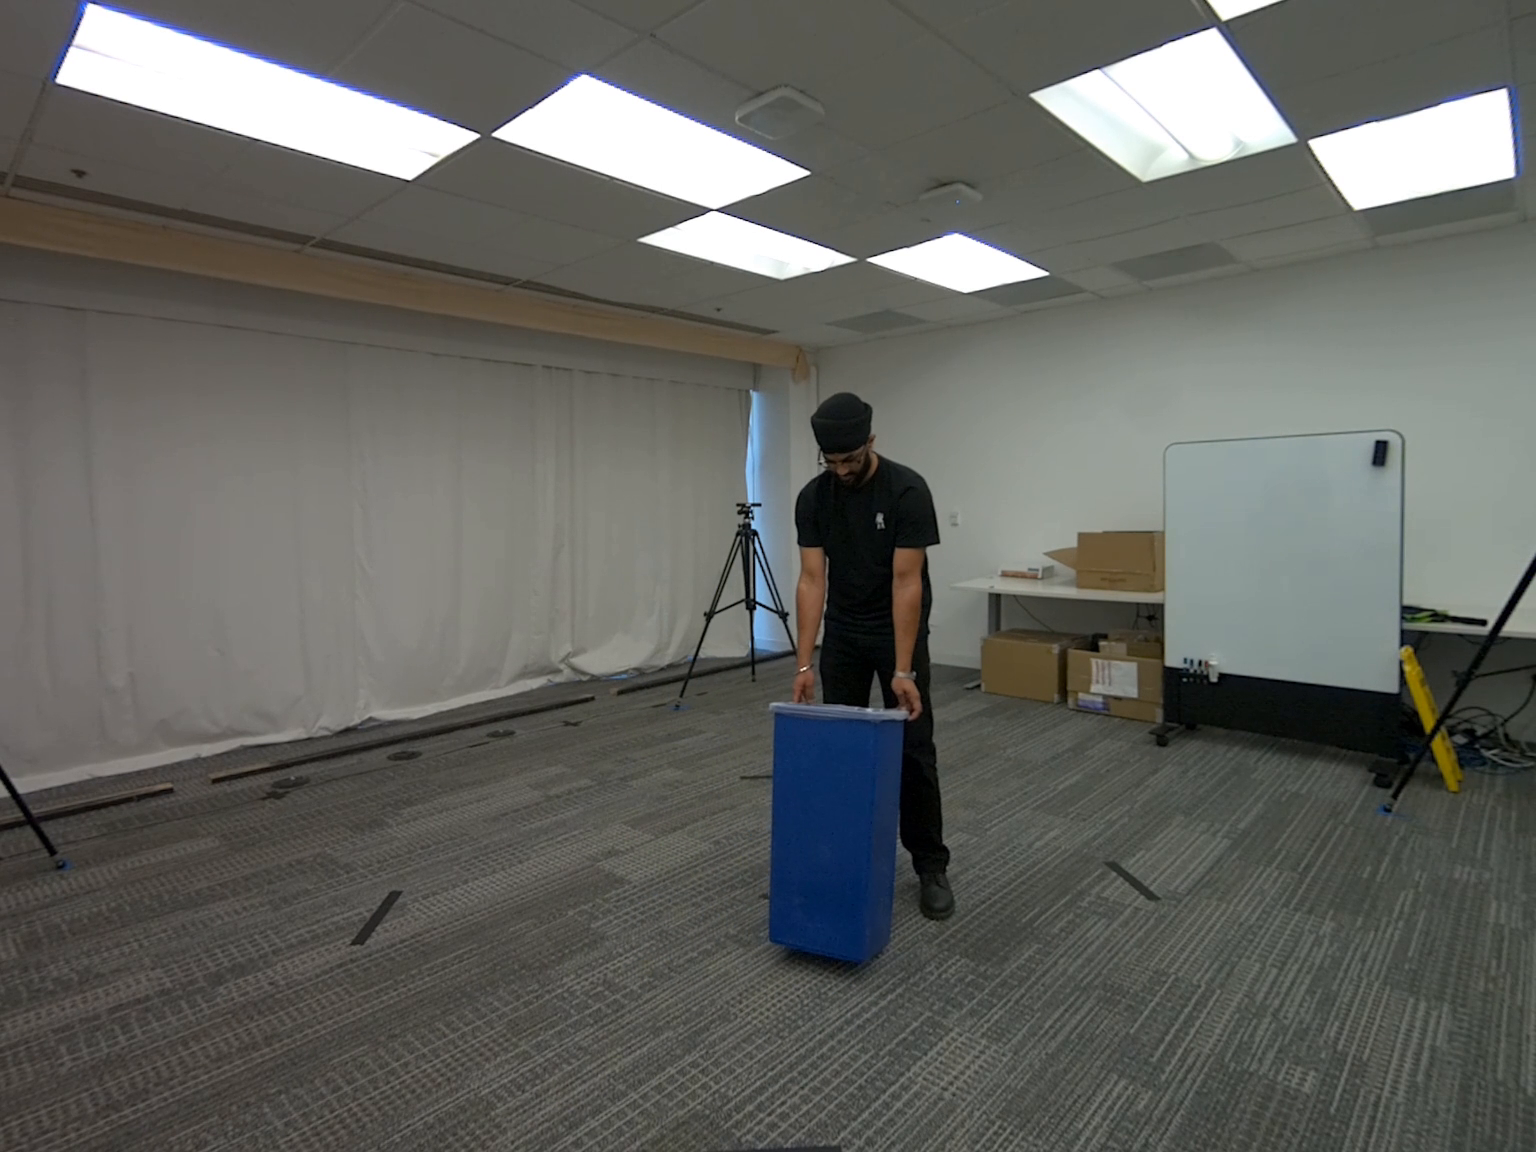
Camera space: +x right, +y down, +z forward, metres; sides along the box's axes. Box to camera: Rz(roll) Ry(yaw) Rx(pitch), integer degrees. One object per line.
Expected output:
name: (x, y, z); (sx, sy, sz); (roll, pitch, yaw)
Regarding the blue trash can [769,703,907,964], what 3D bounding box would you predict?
blue trash can: (0.214, 0.779, 2.668); (0.387, 0.717, 0.363); (0, -9, 24)
